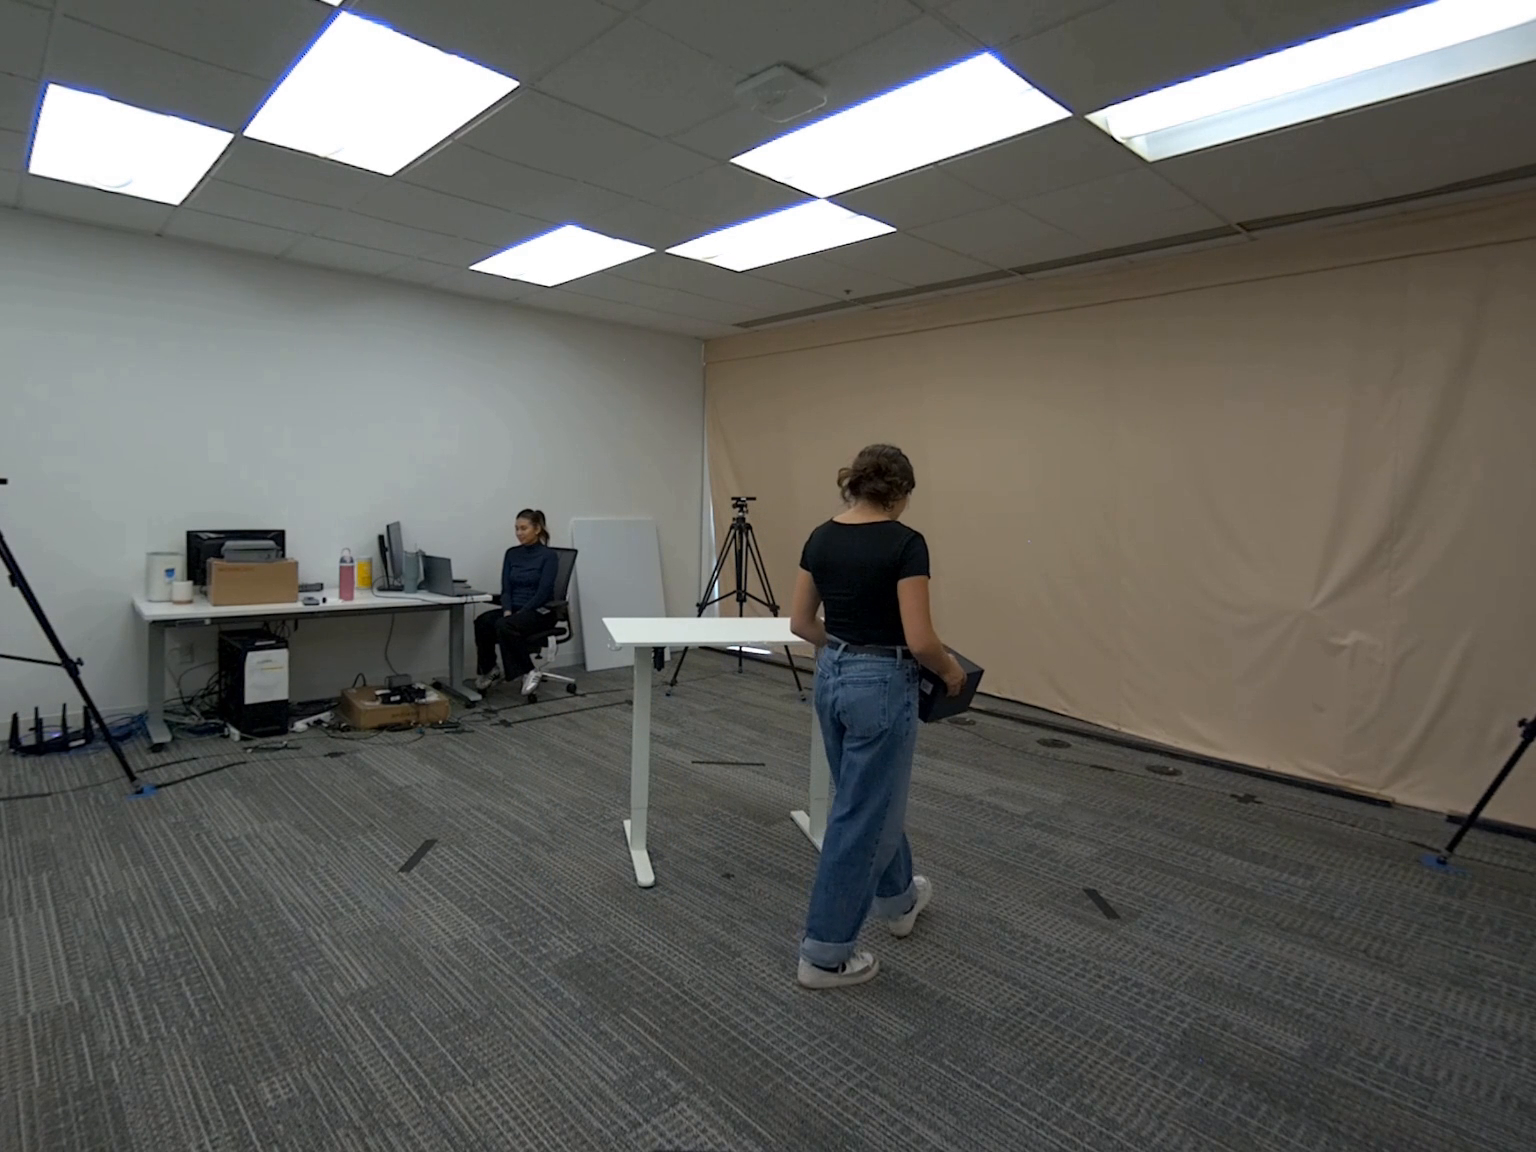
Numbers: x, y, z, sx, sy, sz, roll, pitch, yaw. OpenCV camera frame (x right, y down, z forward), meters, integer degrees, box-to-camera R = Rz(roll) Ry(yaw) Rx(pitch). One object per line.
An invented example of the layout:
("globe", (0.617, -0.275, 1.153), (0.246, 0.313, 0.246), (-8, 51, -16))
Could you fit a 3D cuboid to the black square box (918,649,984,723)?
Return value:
("black square box", (0.497, 0.314, 2.611), (0.223, 0.154, 0.224), (-4, 28, -44))
